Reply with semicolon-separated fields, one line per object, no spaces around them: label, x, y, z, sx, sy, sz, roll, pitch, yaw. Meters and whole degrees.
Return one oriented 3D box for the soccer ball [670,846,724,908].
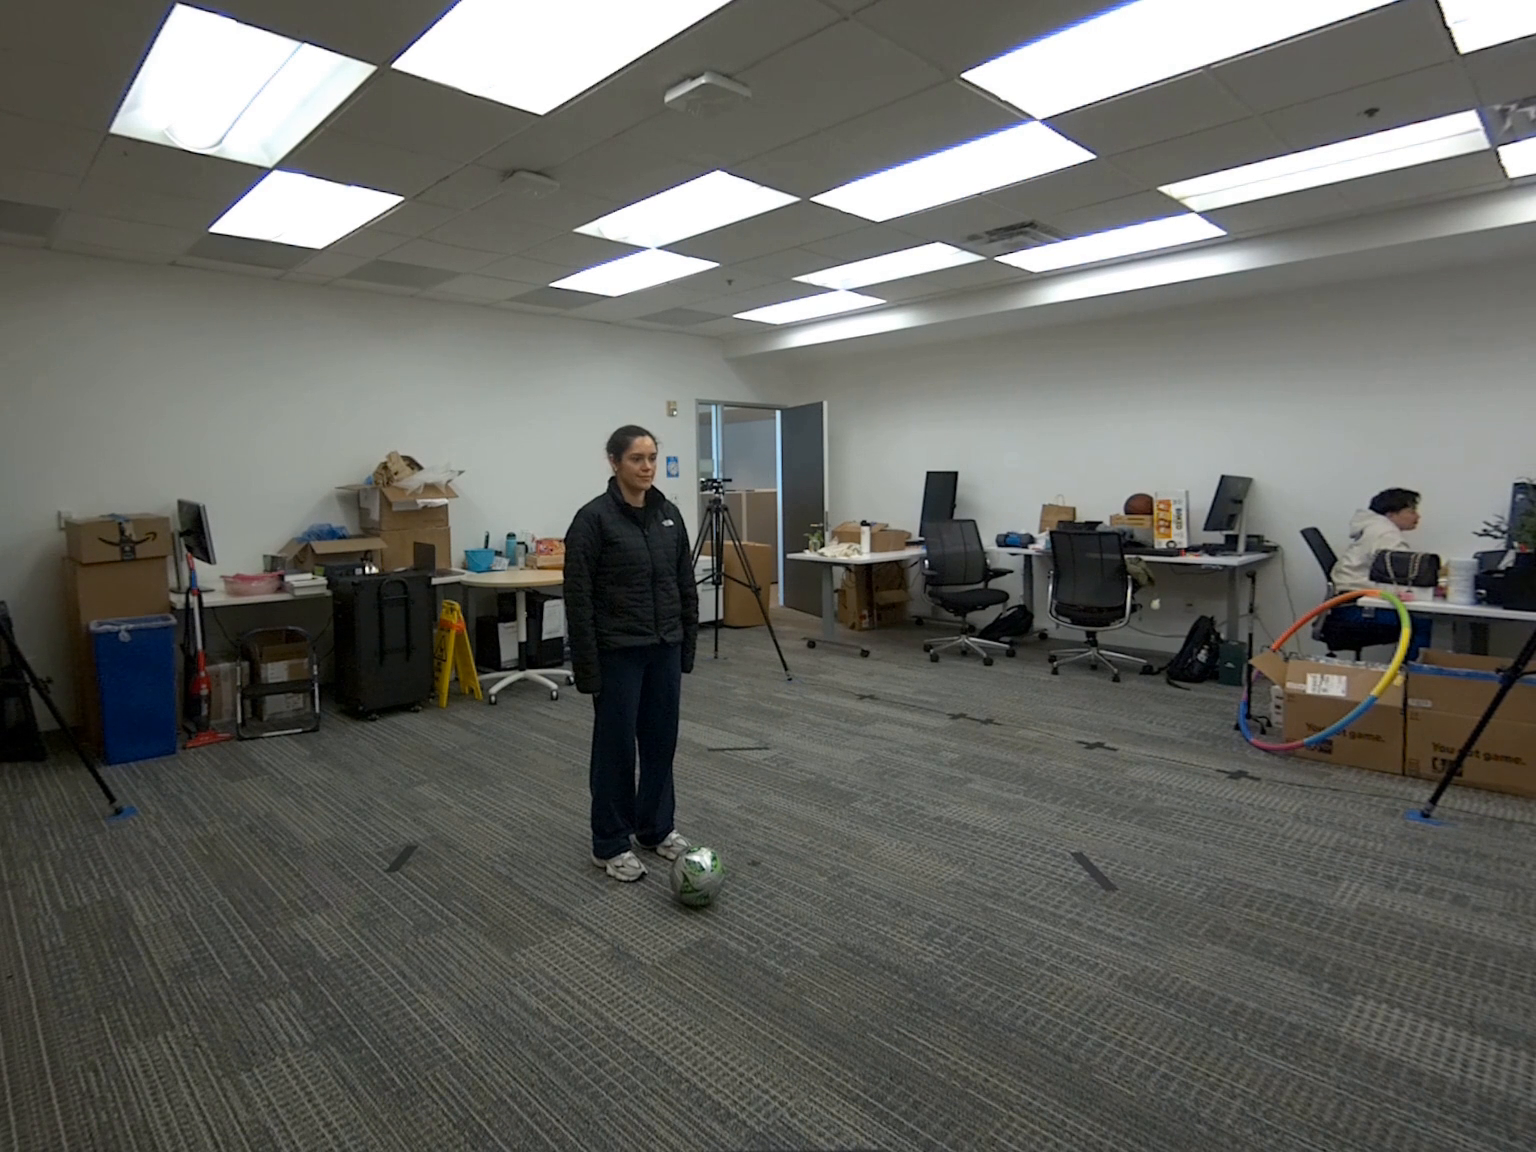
soccer ball;-0.229;0.984;2.821;0.187;0.187;0.188;-1;5;-2
